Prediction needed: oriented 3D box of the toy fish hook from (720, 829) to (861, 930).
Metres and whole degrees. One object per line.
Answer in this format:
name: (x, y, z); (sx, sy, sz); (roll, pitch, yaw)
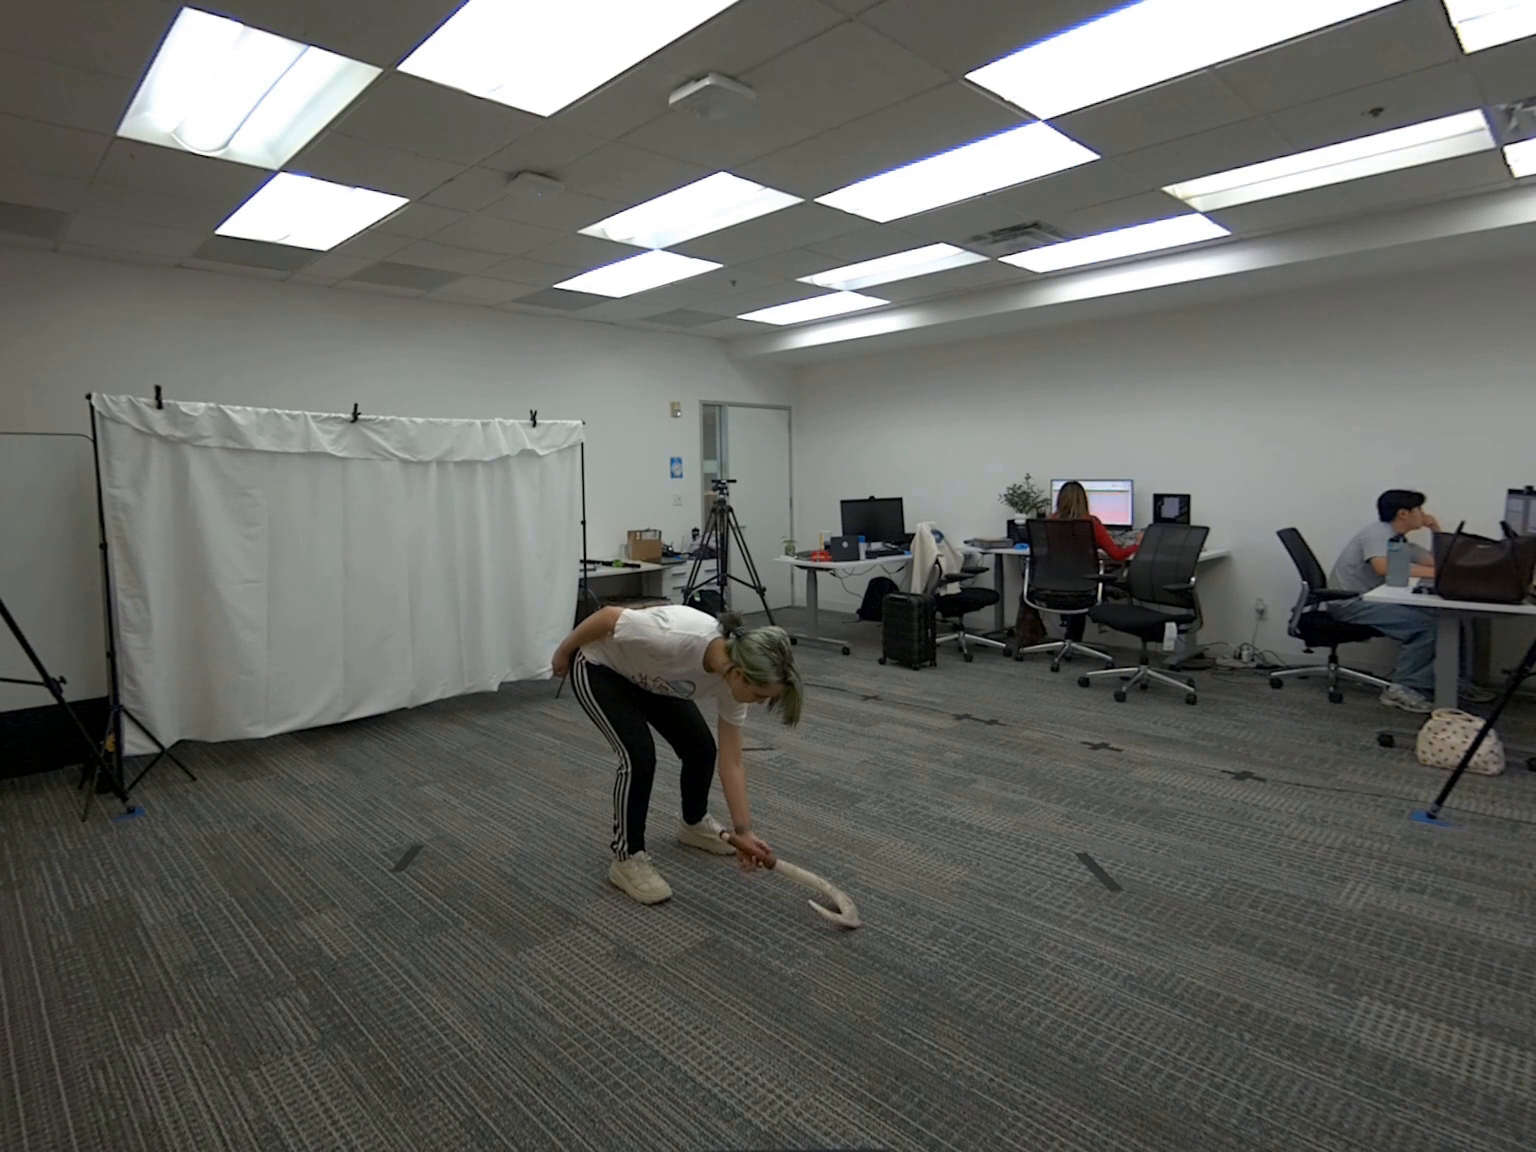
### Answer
toy fish hook: (0.073, 0.958, 2.681); (0.505, 0.048, 0.225); (31, -2, -2)
